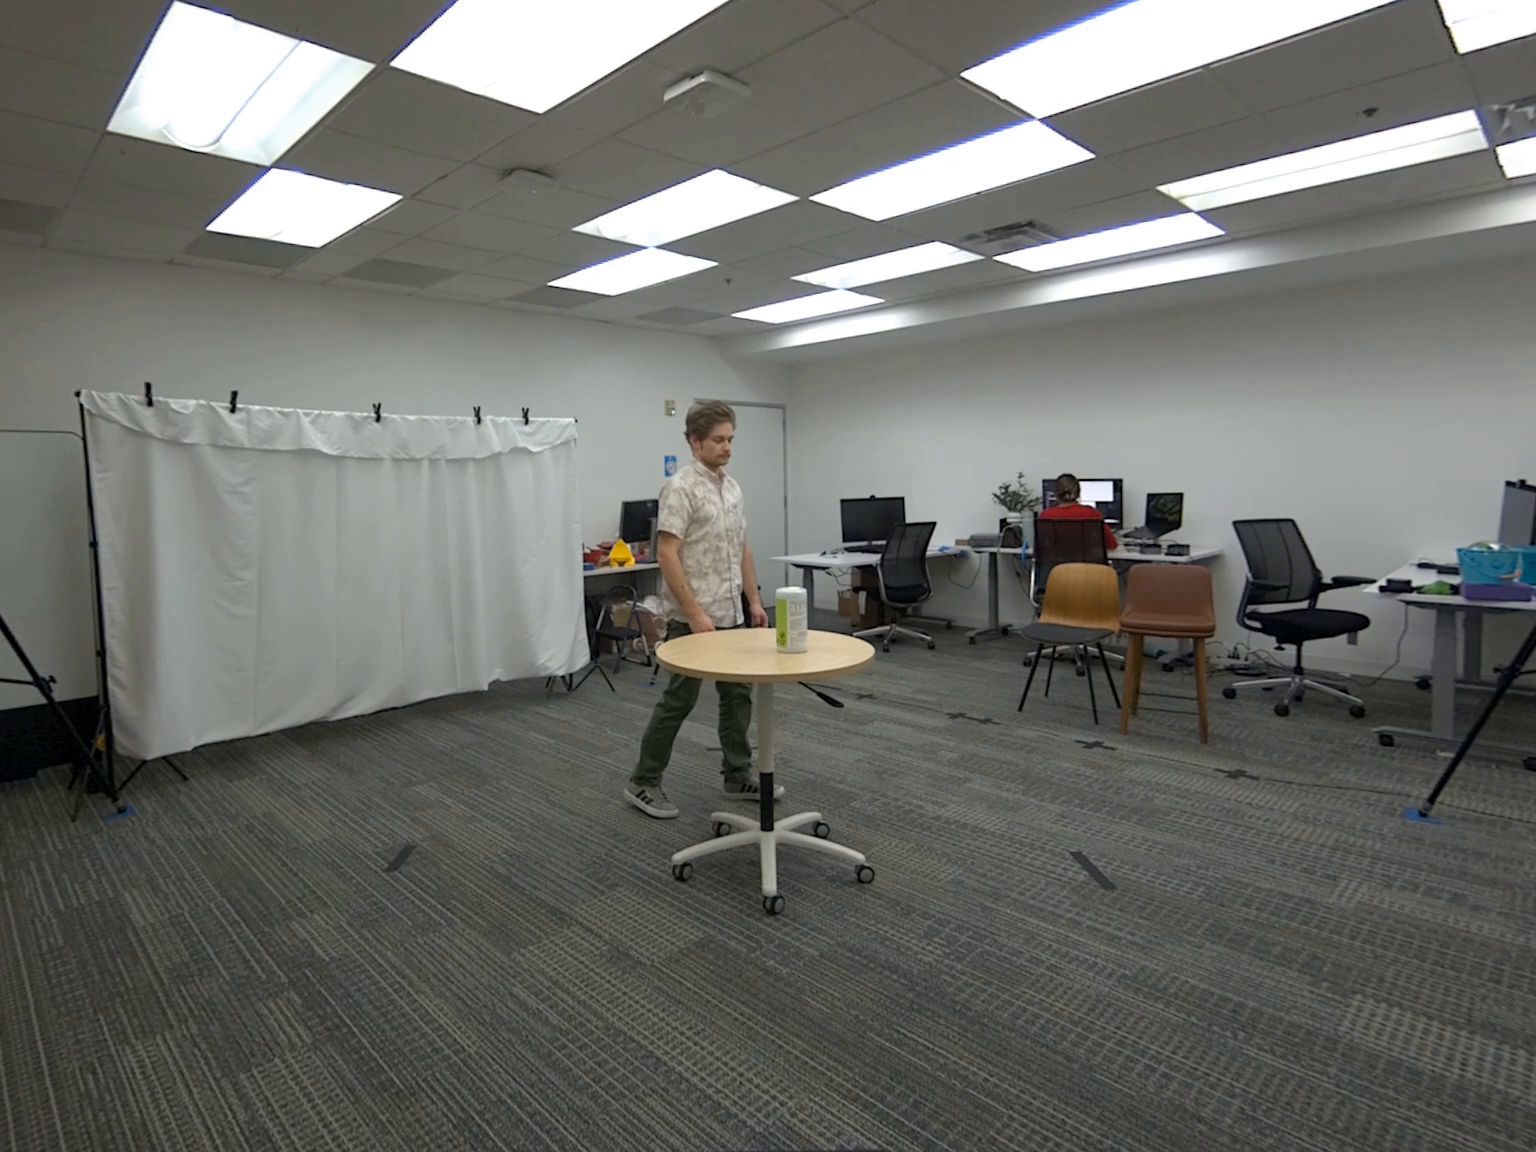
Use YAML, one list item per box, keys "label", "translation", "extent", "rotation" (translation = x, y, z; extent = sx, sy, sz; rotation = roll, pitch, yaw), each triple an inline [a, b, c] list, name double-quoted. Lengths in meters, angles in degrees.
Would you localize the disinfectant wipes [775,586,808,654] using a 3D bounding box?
- label: "disinfectant wipes"
  translation: [0.088, 0.155, 2.969]
  extent: [0.118, 0.216, 0.118]
  rotation: [-1, 5, -2]
